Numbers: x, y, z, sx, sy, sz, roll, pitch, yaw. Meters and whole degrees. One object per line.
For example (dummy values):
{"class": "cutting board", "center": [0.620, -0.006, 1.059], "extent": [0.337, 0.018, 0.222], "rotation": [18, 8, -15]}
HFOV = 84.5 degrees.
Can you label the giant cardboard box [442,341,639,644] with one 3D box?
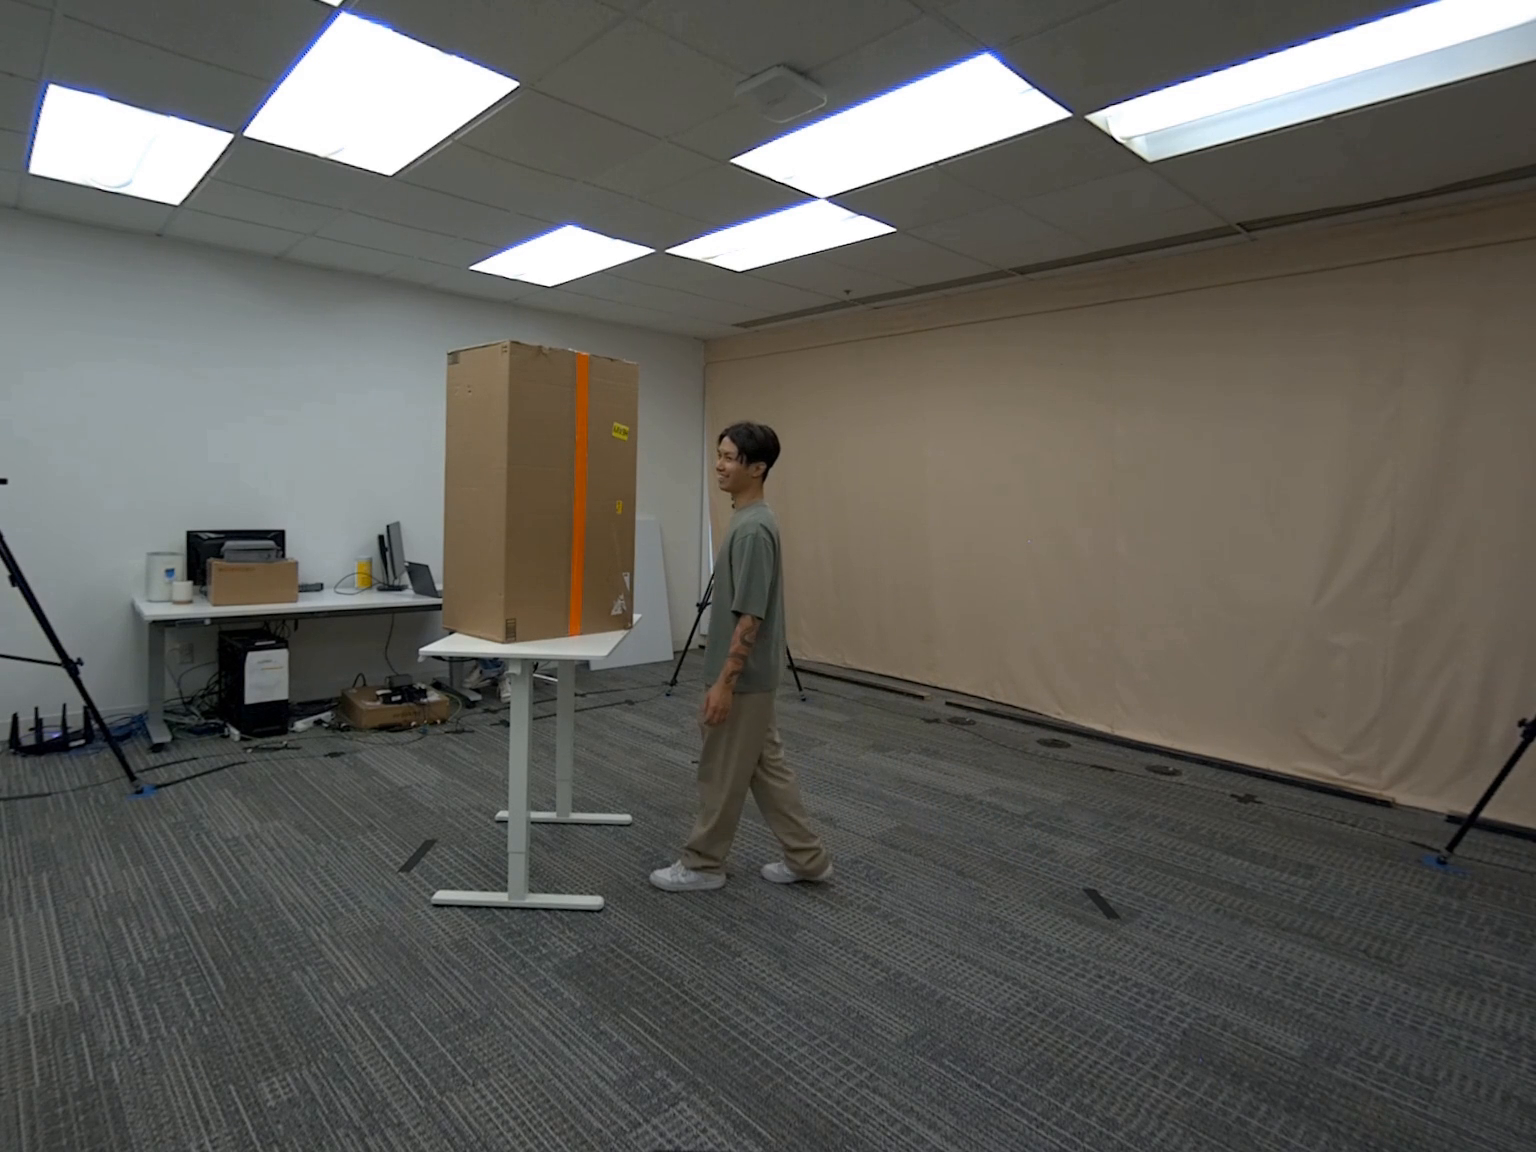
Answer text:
{"class": "giant cardboard box", "center": [-0.855, -0.307, 3.164], "extent": [0.437, 1.024, 0.564], "rotation": [5, 4, 41]}
